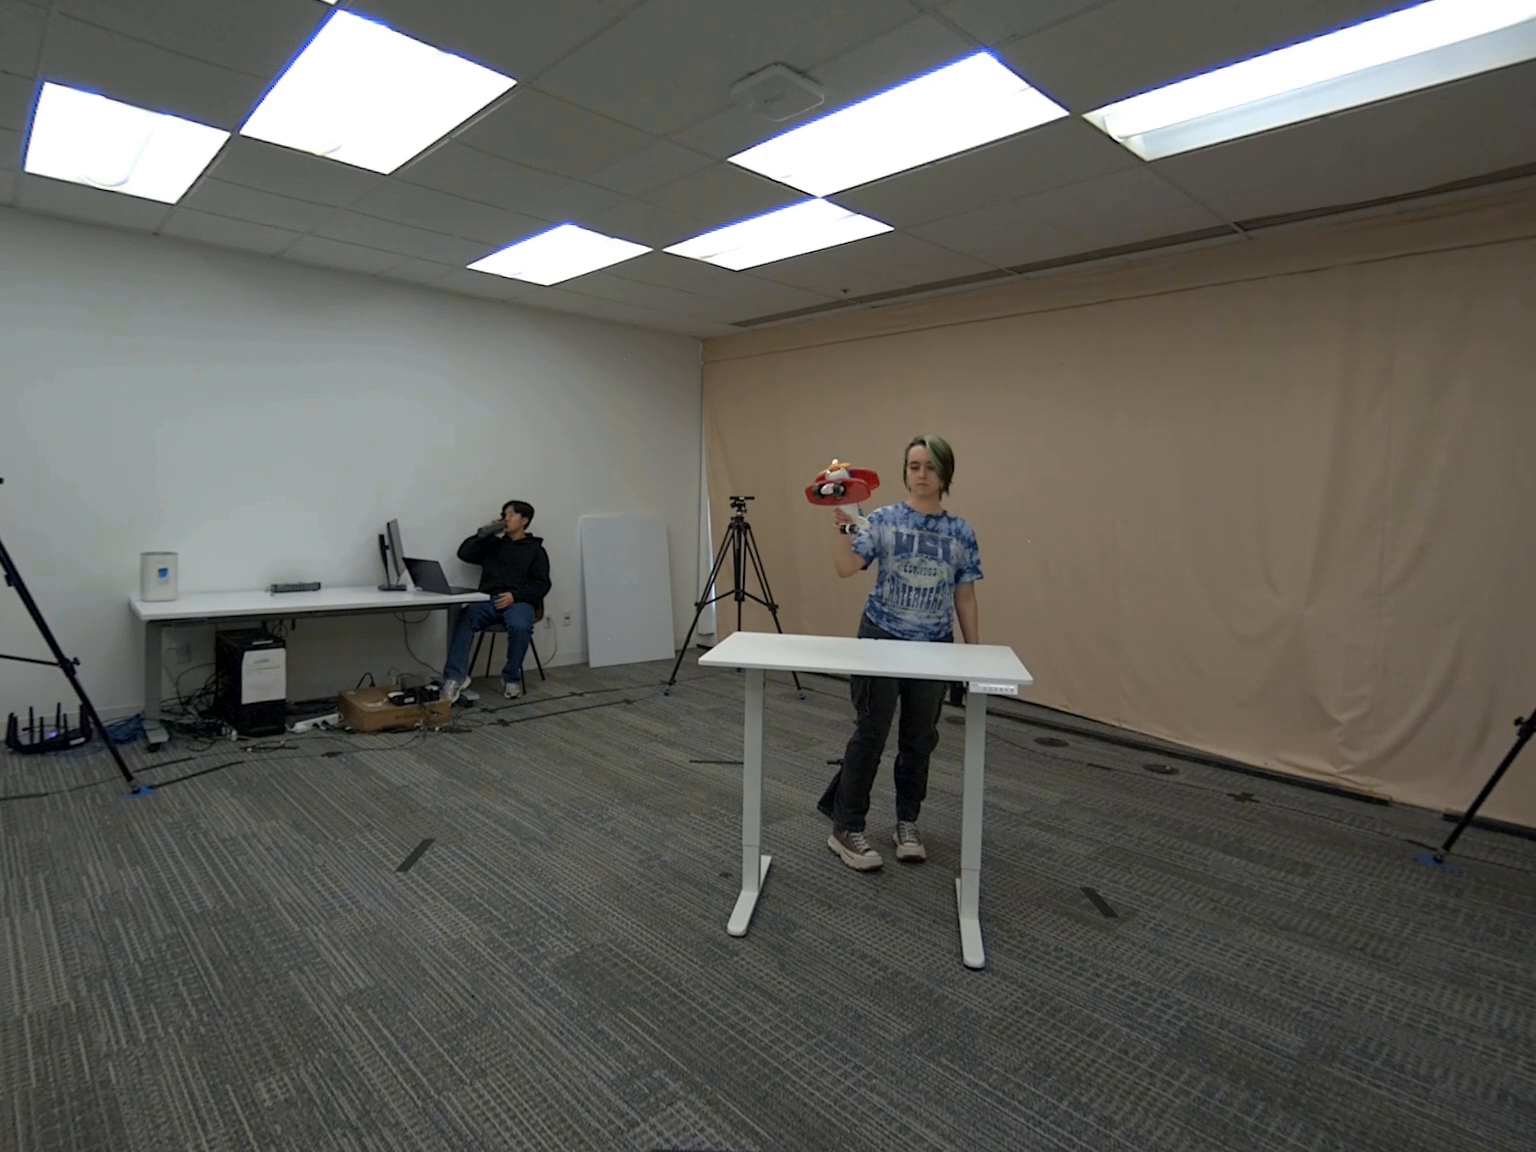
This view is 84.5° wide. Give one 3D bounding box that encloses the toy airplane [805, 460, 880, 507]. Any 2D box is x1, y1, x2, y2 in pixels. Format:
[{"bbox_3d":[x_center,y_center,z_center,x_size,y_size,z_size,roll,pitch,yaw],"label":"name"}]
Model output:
[{"bbox_3d":[0.249,-0.275,2.984,0.255,0.157,0.253,18,-36,17],"label":"toy airplane"}]
